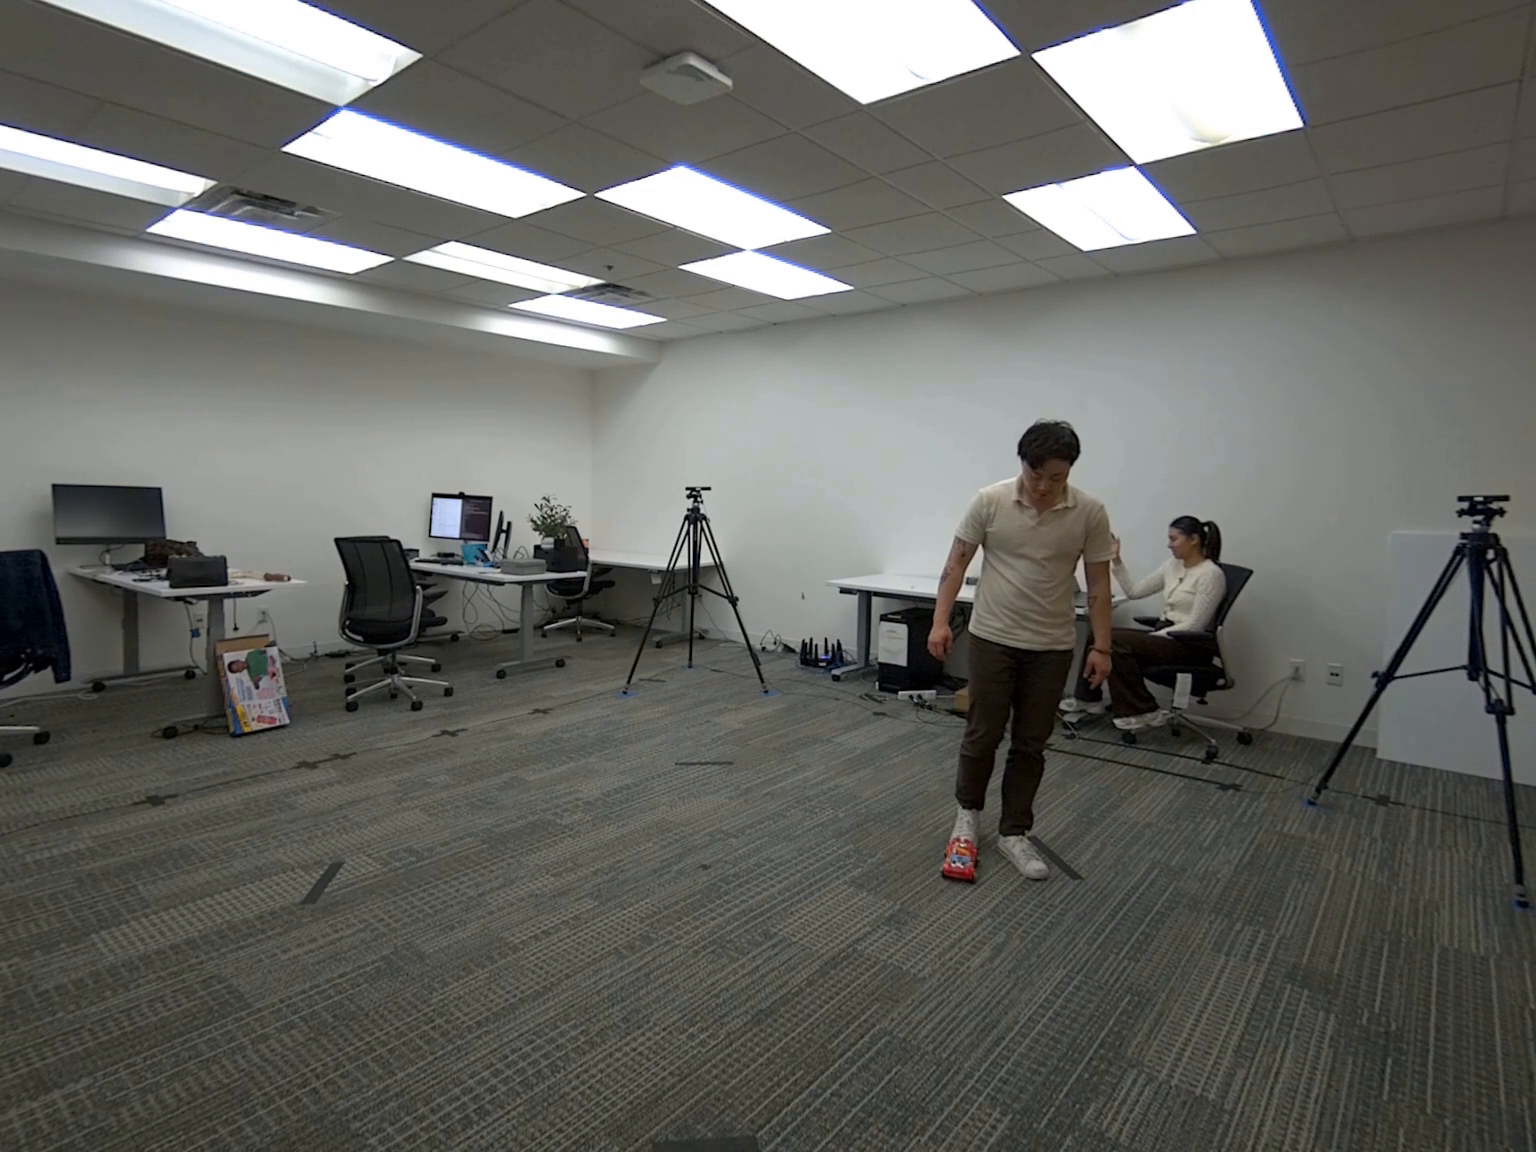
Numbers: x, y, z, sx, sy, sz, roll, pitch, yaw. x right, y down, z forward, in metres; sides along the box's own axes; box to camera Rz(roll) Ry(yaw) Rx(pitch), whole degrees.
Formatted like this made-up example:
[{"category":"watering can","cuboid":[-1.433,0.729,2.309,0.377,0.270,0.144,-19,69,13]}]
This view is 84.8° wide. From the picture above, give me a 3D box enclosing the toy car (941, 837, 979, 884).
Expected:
[{"category":"toy car","cuboid":[0.708,1.047,3.153,0.133,0.082,0.253,1,18,18]}]
